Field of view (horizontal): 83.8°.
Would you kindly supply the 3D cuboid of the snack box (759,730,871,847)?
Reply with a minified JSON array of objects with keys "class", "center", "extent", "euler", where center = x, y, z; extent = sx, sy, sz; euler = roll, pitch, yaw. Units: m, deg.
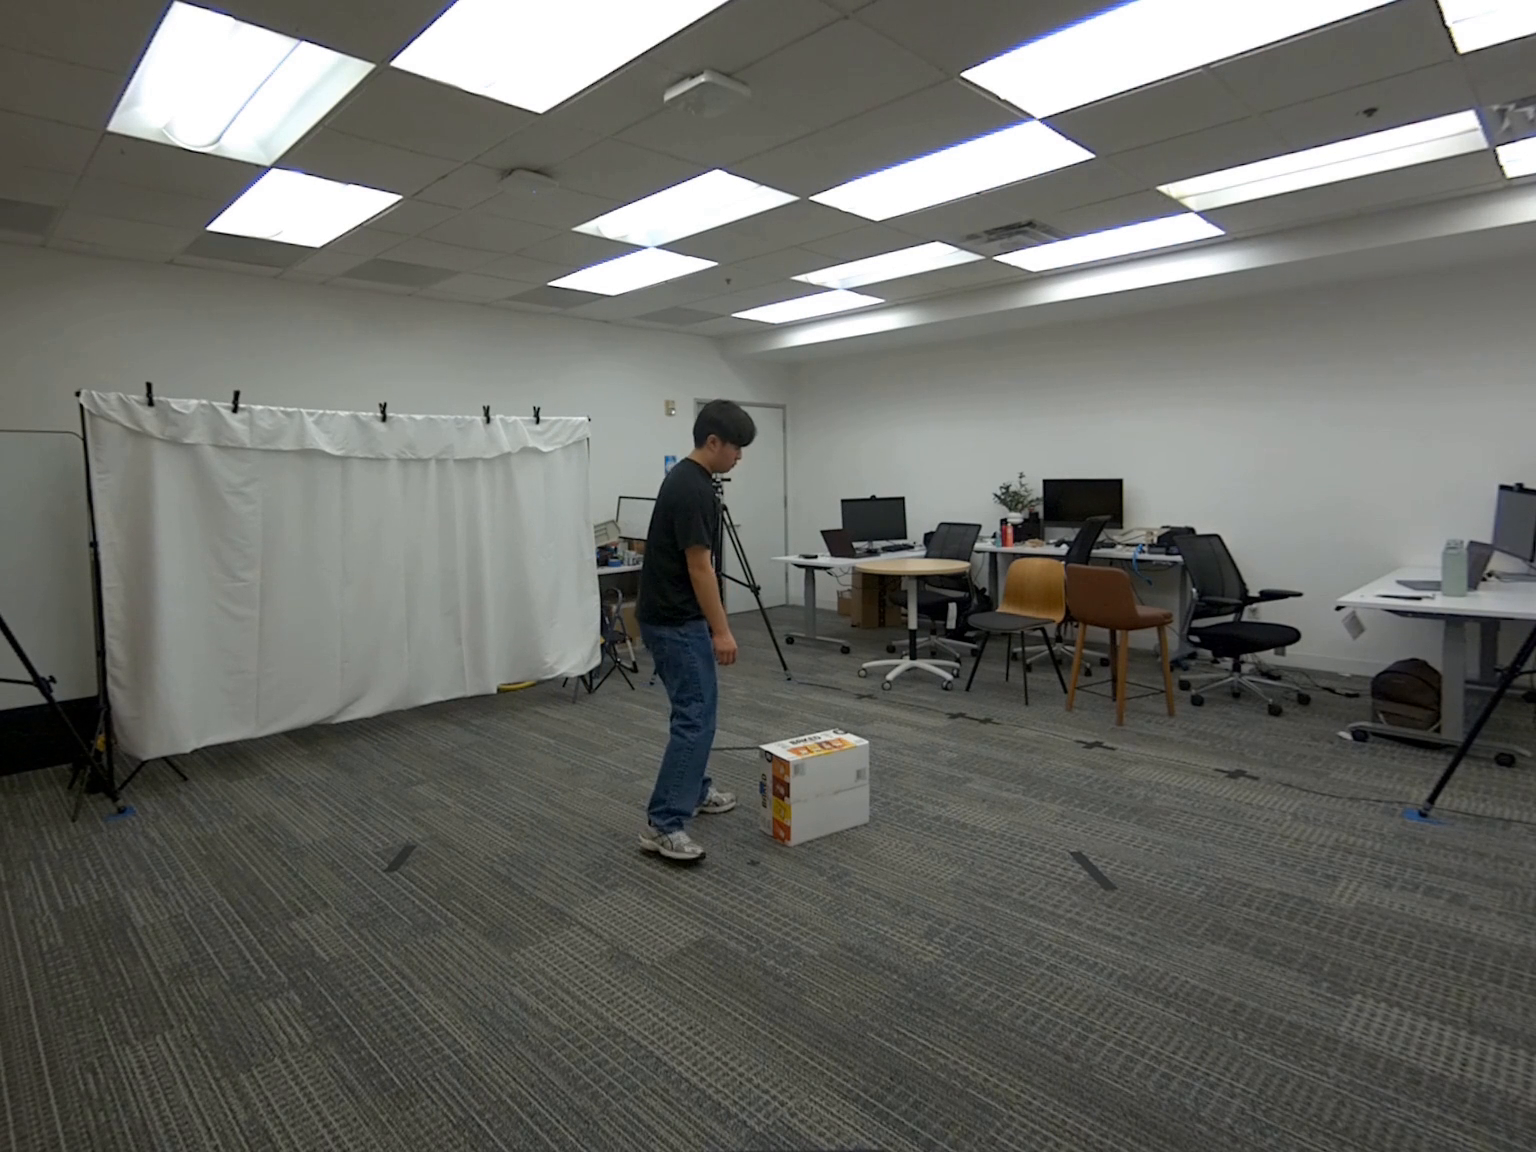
[{"class":"snack box","center":[0.191,0.835,3.409],"extent":[0.395,0.338,0.212],"euler":[-5,7,-33]}]
